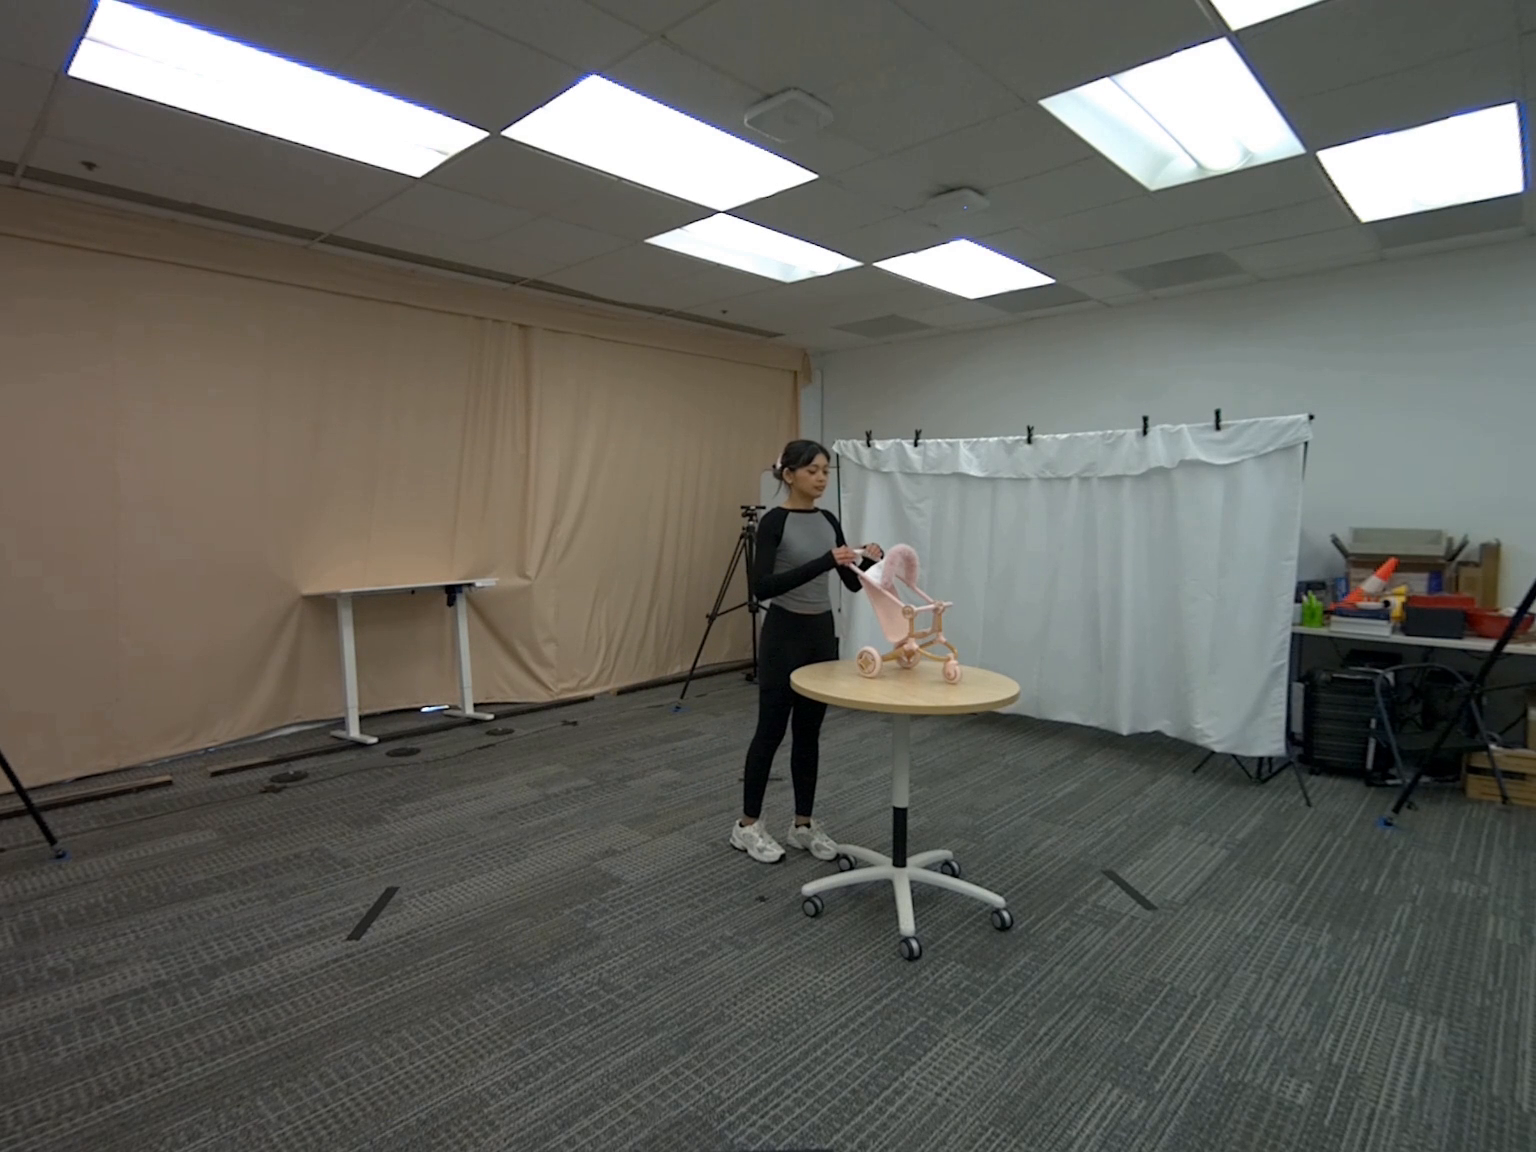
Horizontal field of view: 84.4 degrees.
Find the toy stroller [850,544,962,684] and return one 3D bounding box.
[{"bbox_3d":[0.486,0.131,2.946,0.273,0.538,0.350,-3,-10,-43],"label":"toy stroller"}]
